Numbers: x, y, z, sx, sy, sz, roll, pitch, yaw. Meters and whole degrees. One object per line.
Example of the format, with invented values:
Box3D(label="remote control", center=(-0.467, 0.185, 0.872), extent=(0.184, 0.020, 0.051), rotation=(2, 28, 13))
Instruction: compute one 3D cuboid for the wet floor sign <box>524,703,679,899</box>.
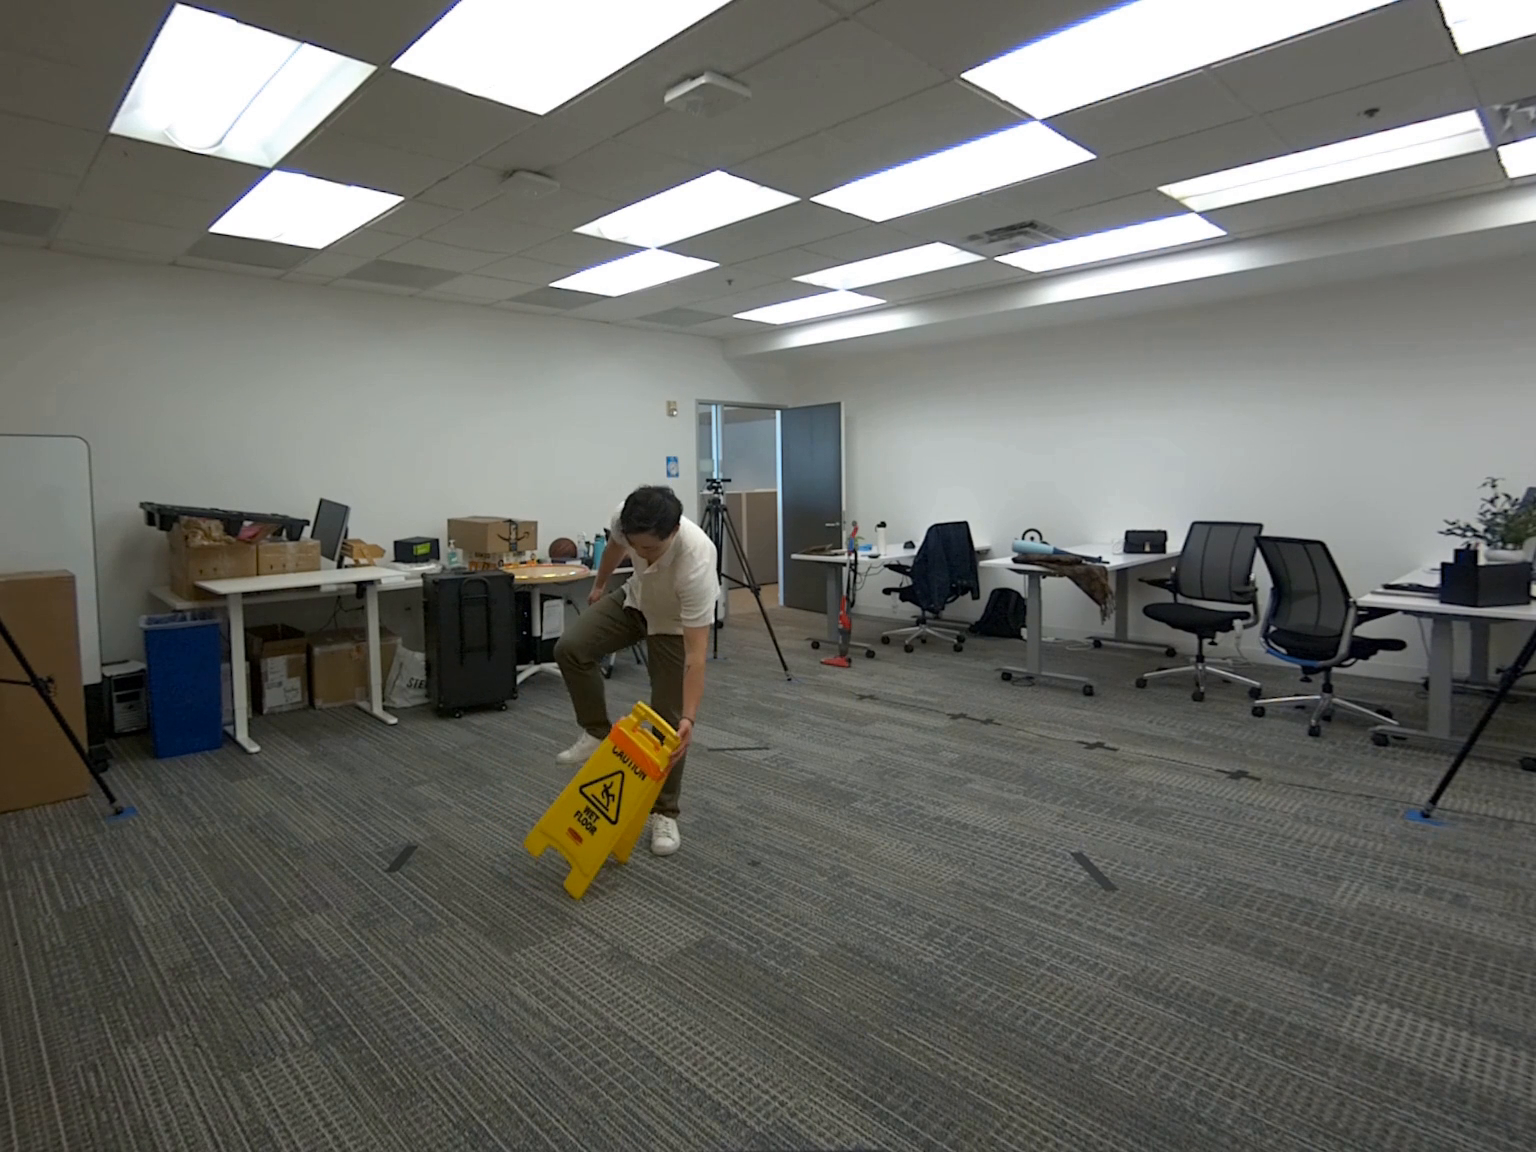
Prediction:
Box3D(label="wet floor sign", center=(-0.526, 0.737, 2.943), extent=(0.289, 0.643, 0.285), rotation=(36, 19, 16))
